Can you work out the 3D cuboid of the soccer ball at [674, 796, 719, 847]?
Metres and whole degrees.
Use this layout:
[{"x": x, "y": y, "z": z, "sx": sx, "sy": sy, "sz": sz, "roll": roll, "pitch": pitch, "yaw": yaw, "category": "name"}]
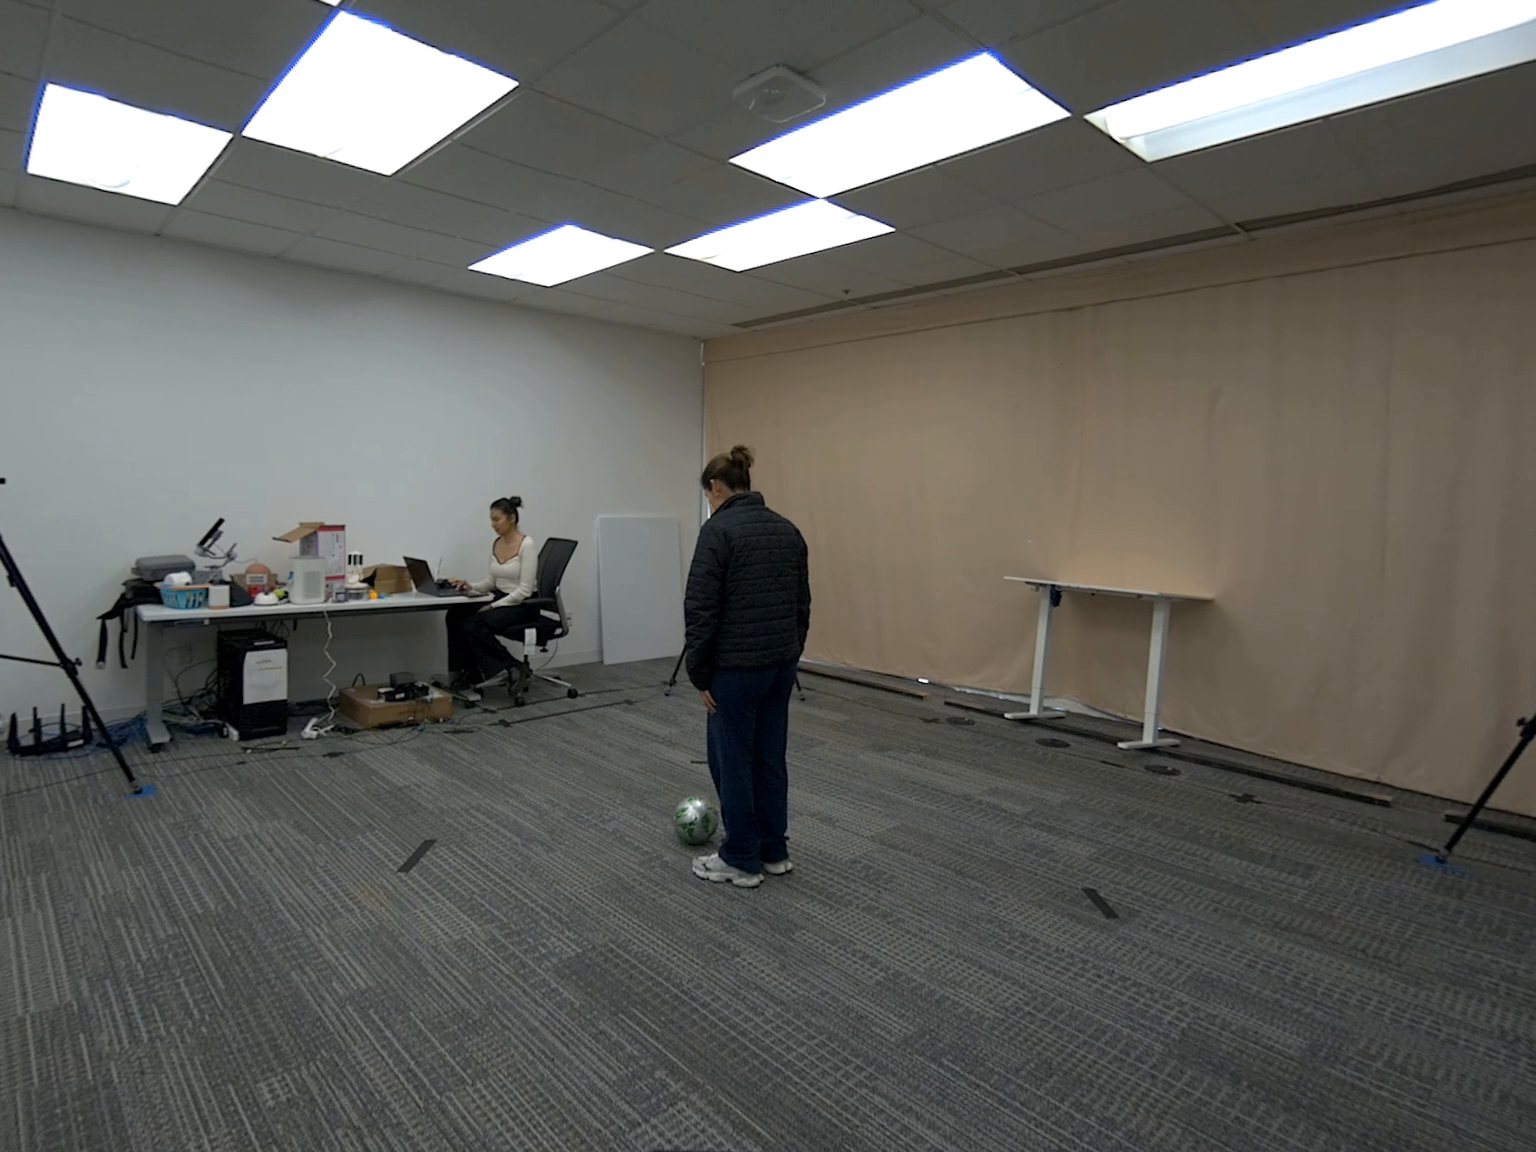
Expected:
[{"x": -0.299, "y": 0.982, "z": 3.396, "sx": 0.187, "sy": 0.187, "sz": 0.188, "roll": 1, "pitch": 4, "yaw": -1, "category": "soccer ball"}]
